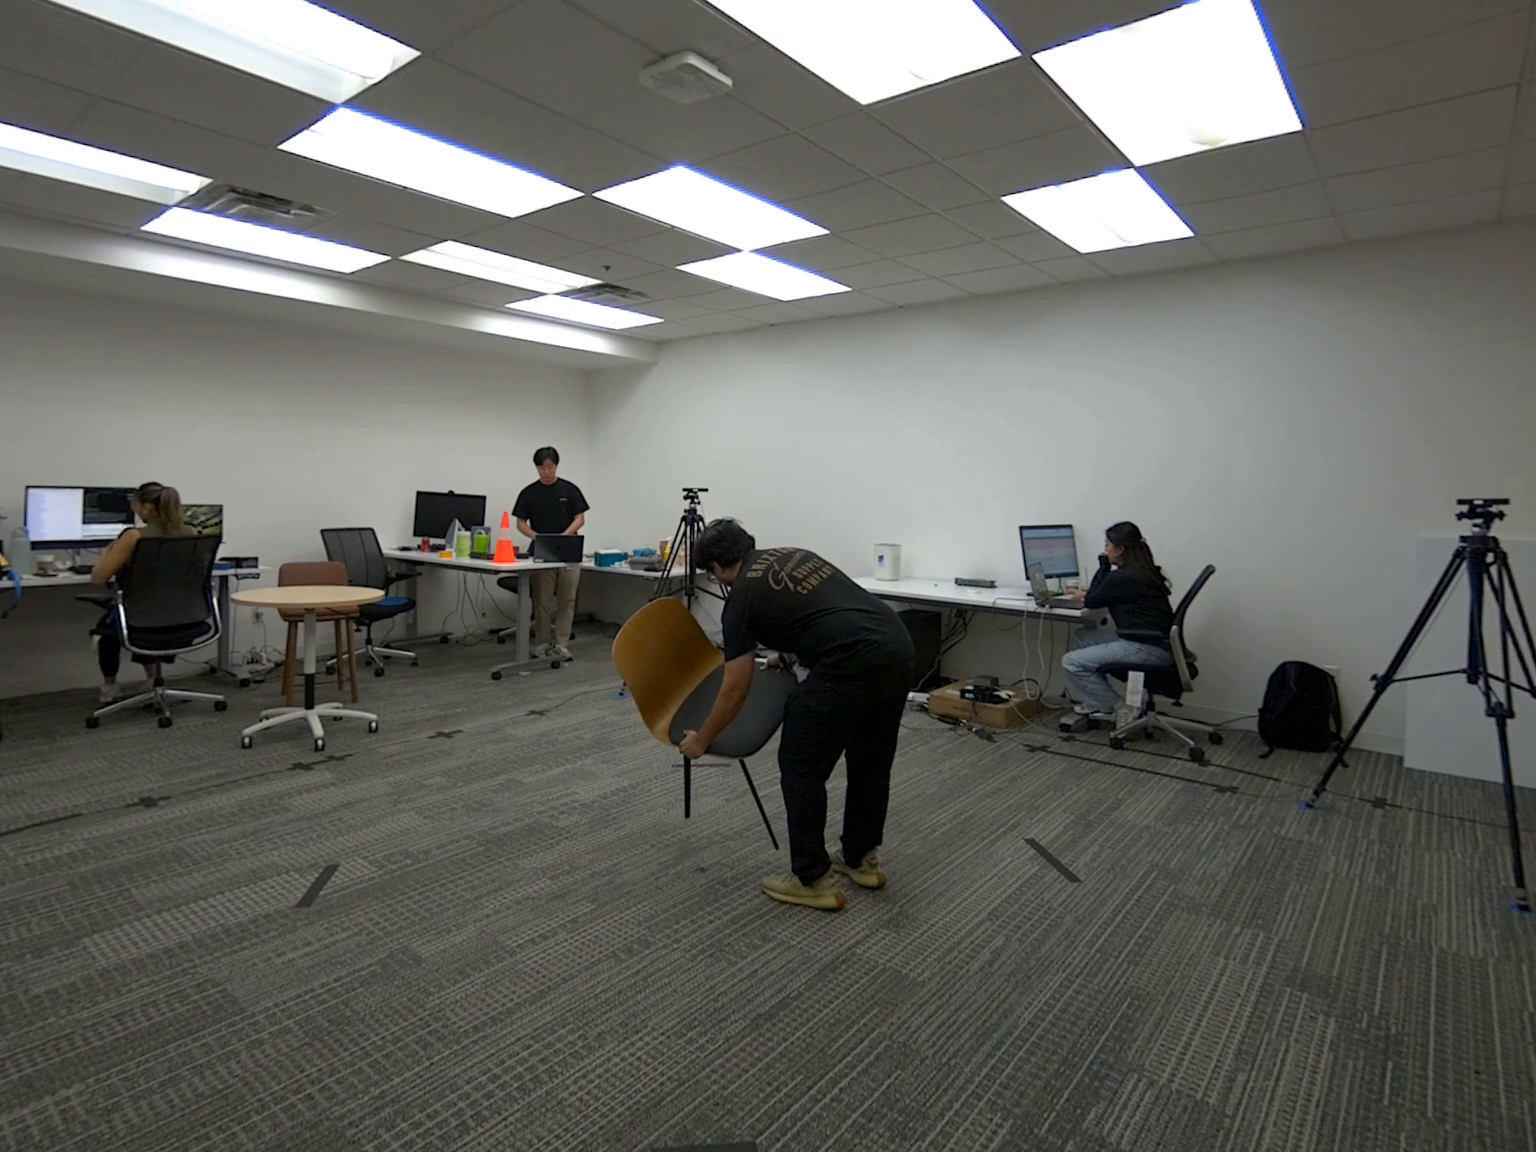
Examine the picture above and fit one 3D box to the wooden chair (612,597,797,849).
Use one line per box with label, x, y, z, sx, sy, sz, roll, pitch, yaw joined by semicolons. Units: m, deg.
wooden chair;-0.172;0.511;3.214;0.540;0.851;0.478;0;35;40
